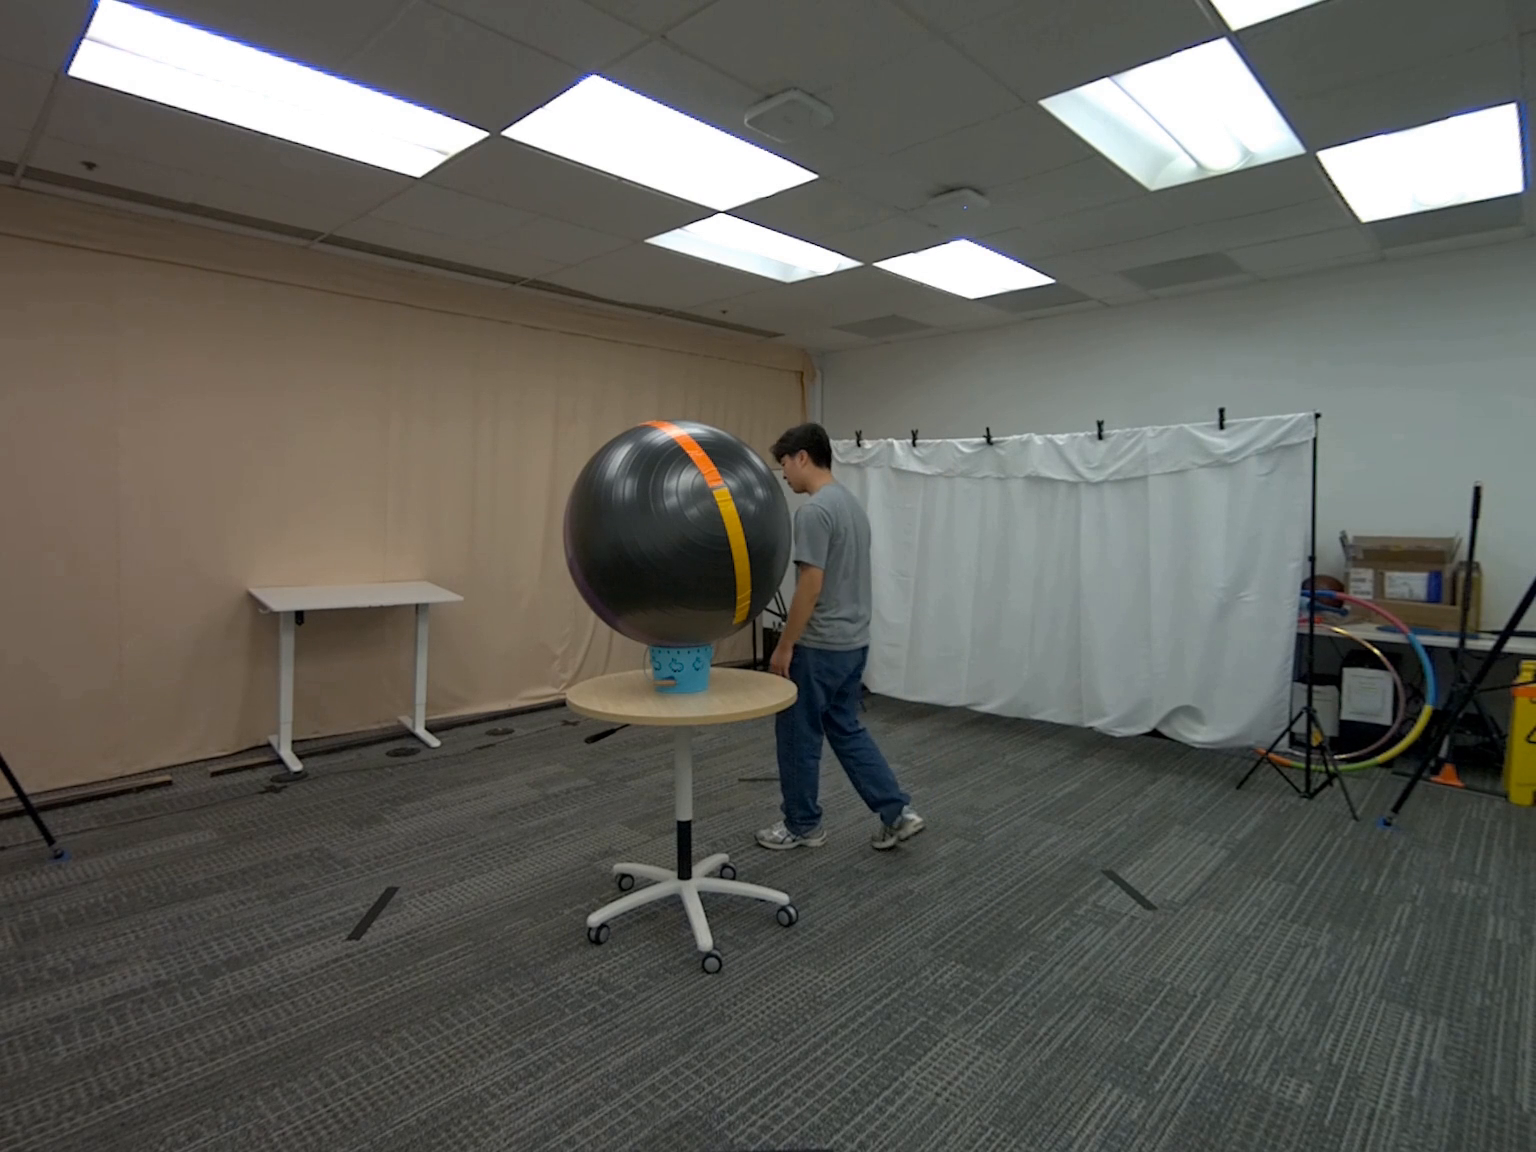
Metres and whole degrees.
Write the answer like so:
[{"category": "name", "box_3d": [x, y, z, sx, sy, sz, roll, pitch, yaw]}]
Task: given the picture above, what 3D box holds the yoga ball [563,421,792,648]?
[{"category": "yoga ball", "box_3d": [-0.303, -0.135, 2.808, 0.757, 0.756, 0.760, 0, 4, -2]}]
